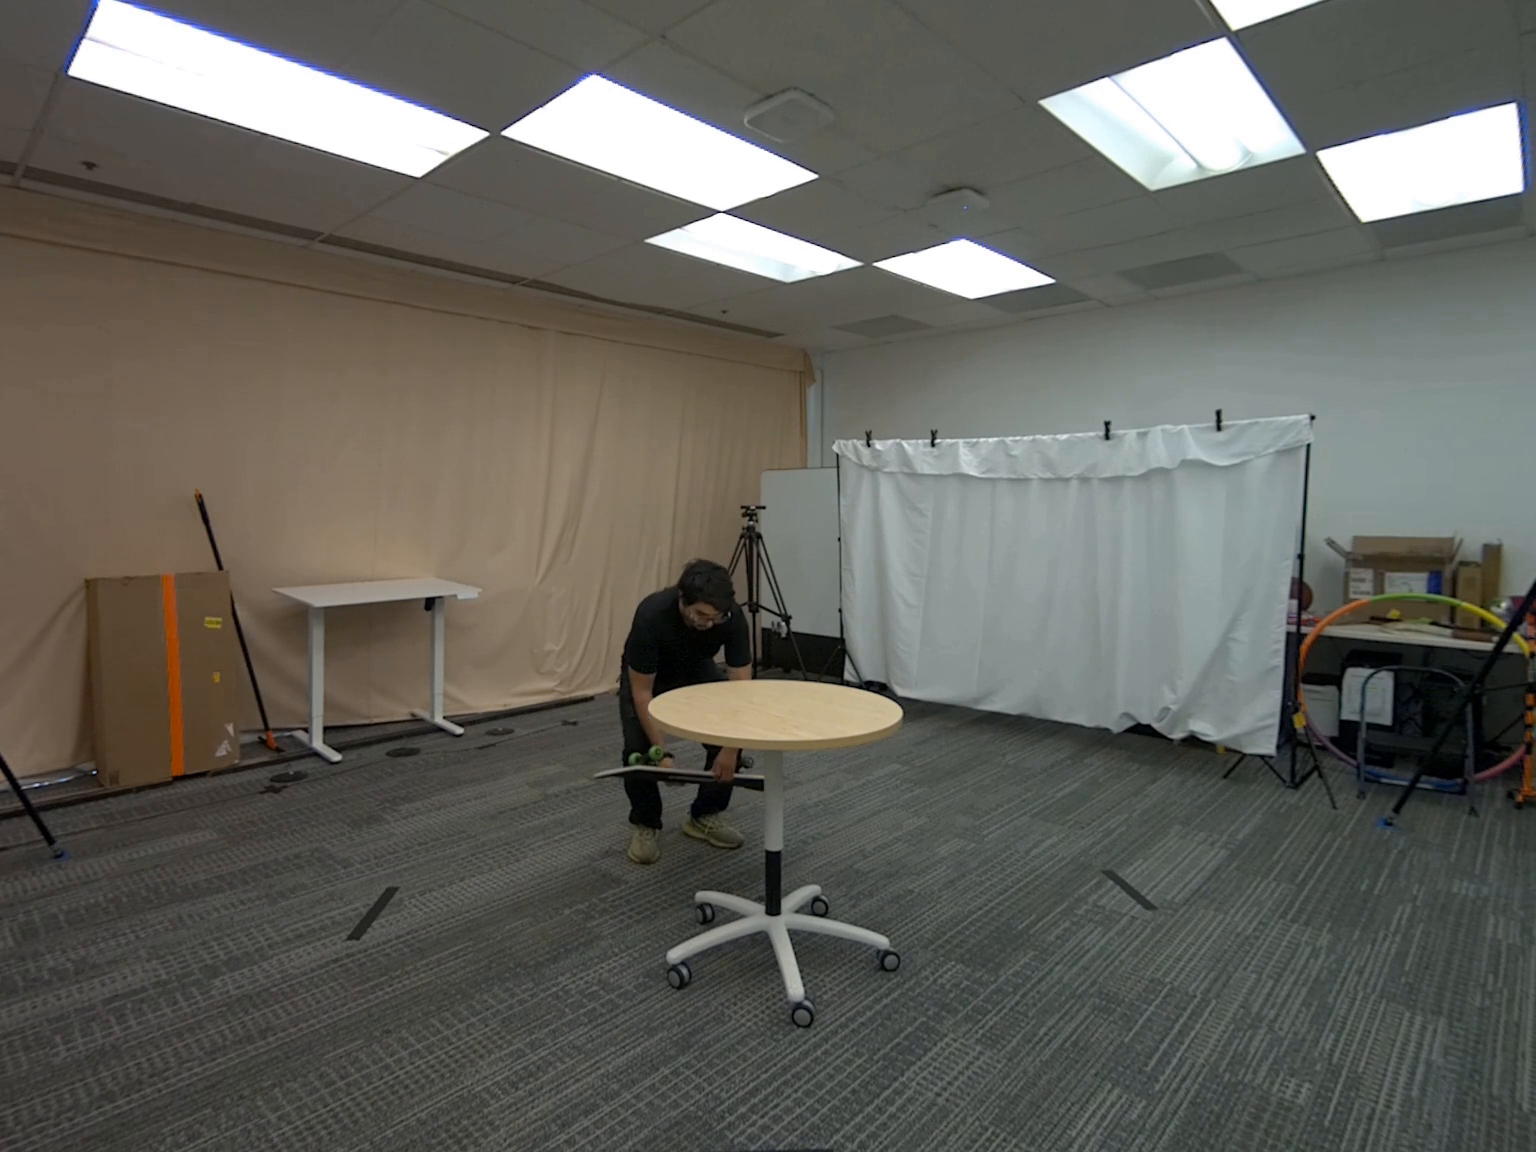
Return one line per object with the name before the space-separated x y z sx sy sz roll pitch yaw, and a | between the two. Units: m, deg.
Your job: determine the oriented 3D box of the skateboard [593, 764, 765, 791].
skateboard | -0.291 0.710 3.136 0.760 0.112 0.197 14 -27 -32
